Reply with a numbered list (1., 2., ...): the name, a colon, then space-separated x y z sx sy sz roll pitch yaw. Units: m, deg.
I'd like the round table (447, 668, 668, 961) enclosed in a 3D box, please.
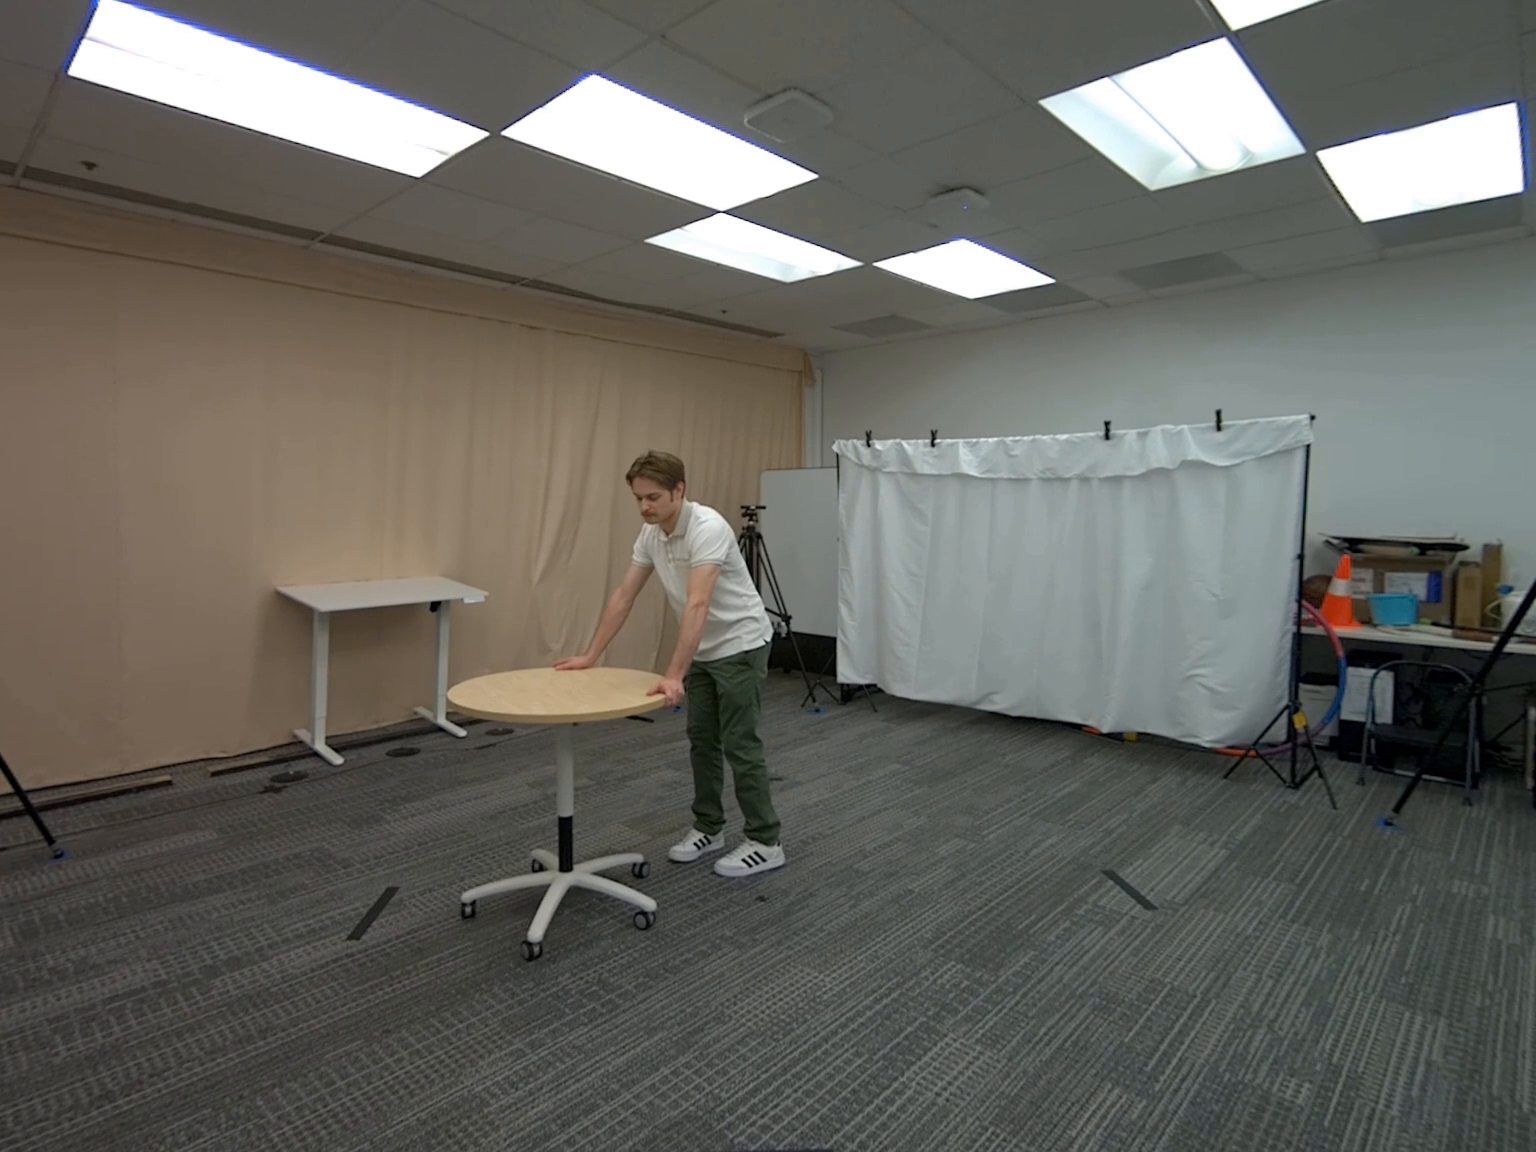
1. round table: -0.698 0.771 2.893 0.763 0.792 0.766 0 3 -2
